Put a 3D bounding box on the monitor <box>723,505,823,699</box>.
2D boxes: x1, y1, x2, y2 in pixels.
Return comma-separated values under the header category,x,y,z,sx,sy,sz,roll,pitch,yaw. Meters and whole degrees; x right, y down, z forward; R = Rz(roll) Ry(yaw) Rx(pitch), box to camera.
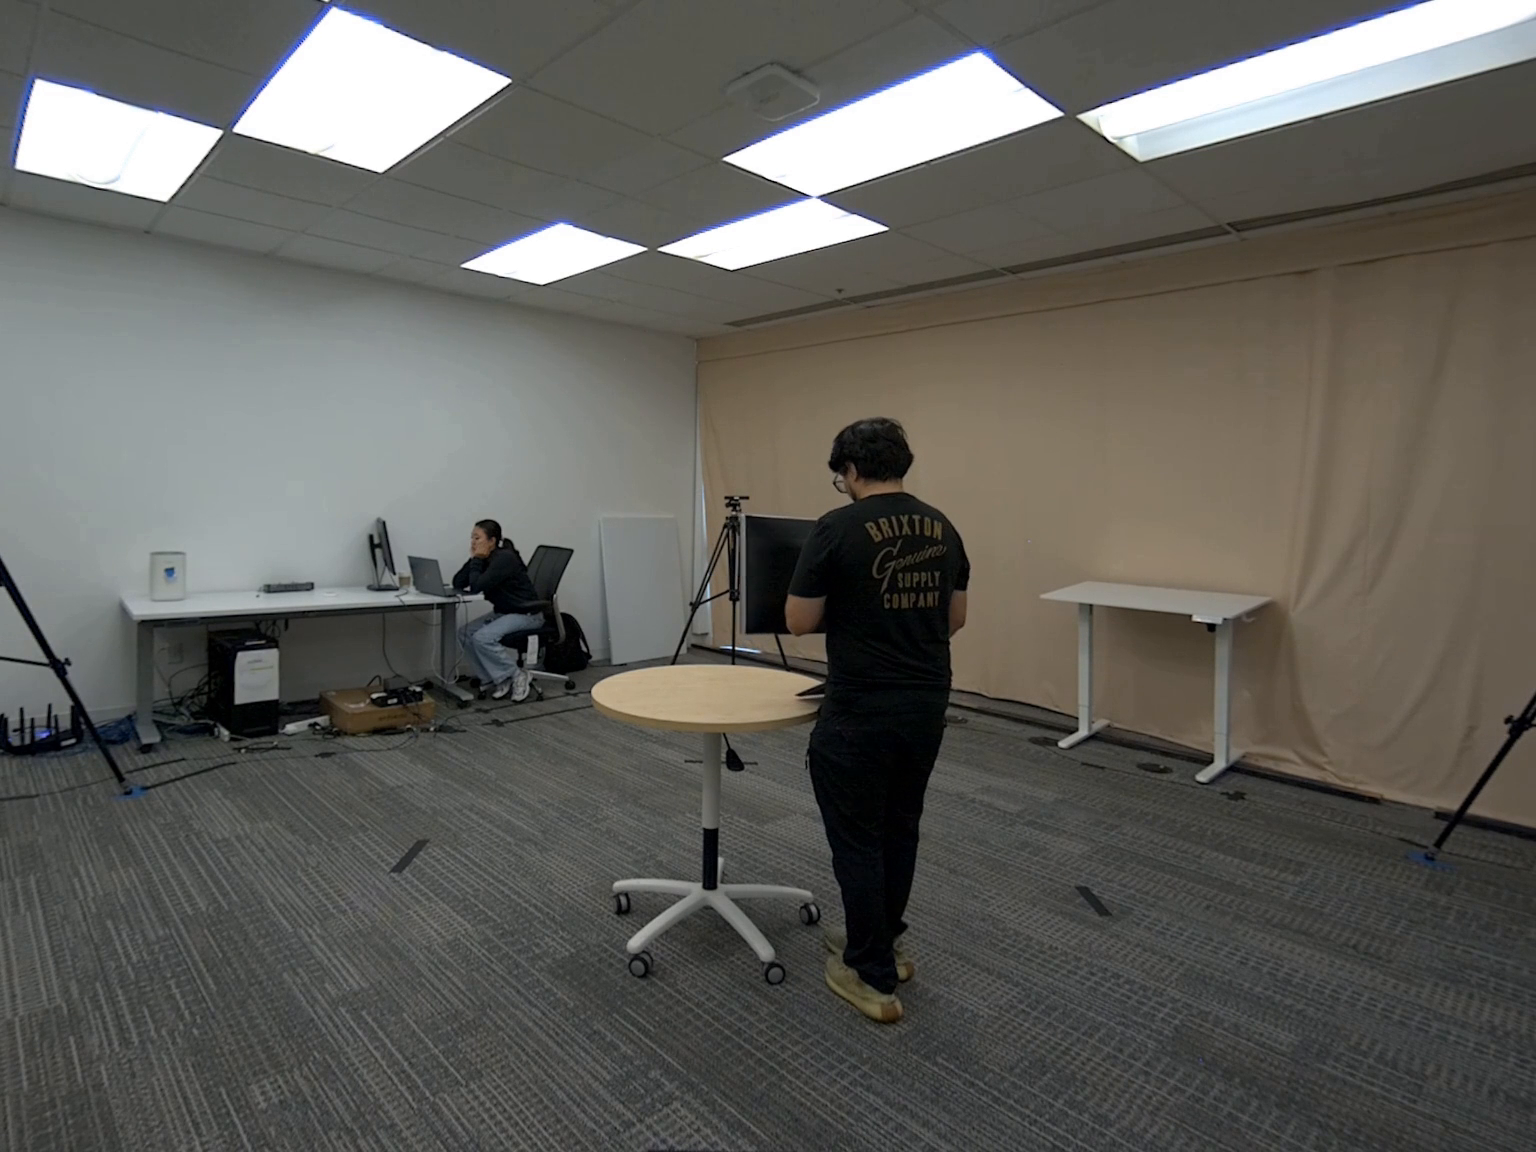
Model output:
category,x,y,z,sx,sy,sz,roll,pitch,yaw
monitor,0.201,0.083,2.585,0.553,0.558,0.213,2,-11,-30
